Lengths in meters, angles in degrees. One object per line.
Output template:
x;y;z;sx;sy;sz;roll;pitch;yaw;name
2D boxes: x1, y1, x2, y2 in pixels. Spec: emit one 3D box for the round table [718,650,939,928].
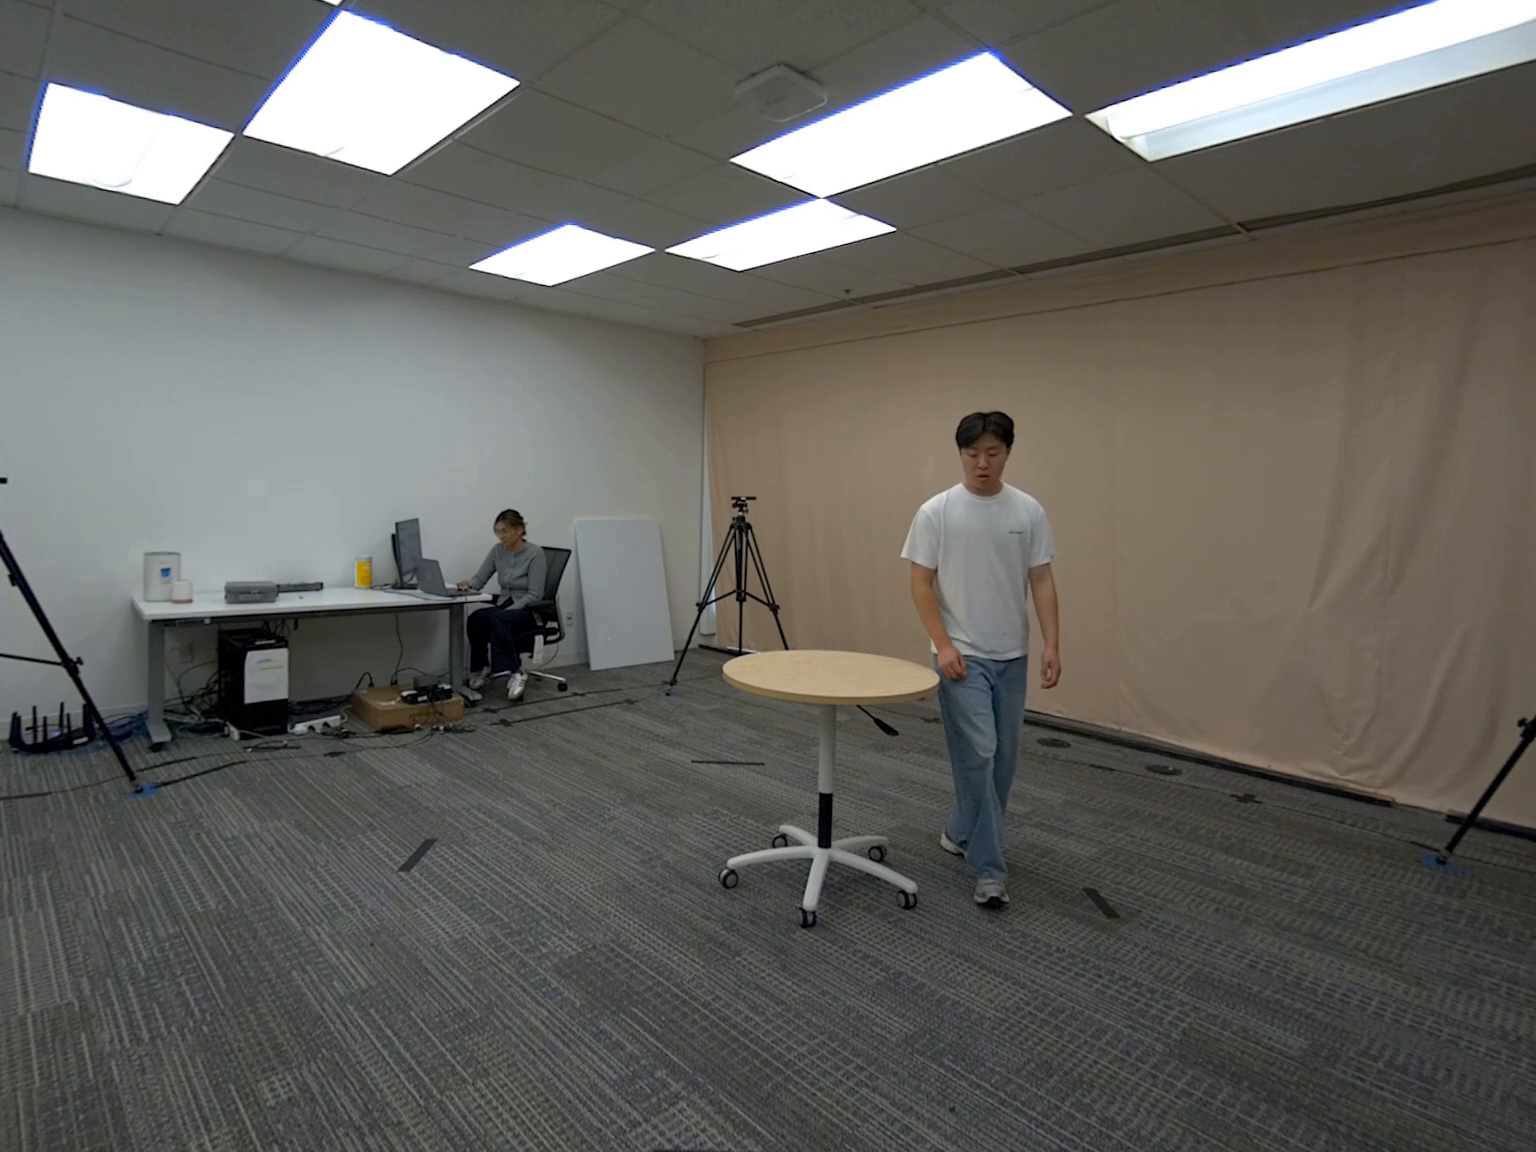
0.201;0.730;3.024;0.763;0.792;0.767;1;4;-1;round table
